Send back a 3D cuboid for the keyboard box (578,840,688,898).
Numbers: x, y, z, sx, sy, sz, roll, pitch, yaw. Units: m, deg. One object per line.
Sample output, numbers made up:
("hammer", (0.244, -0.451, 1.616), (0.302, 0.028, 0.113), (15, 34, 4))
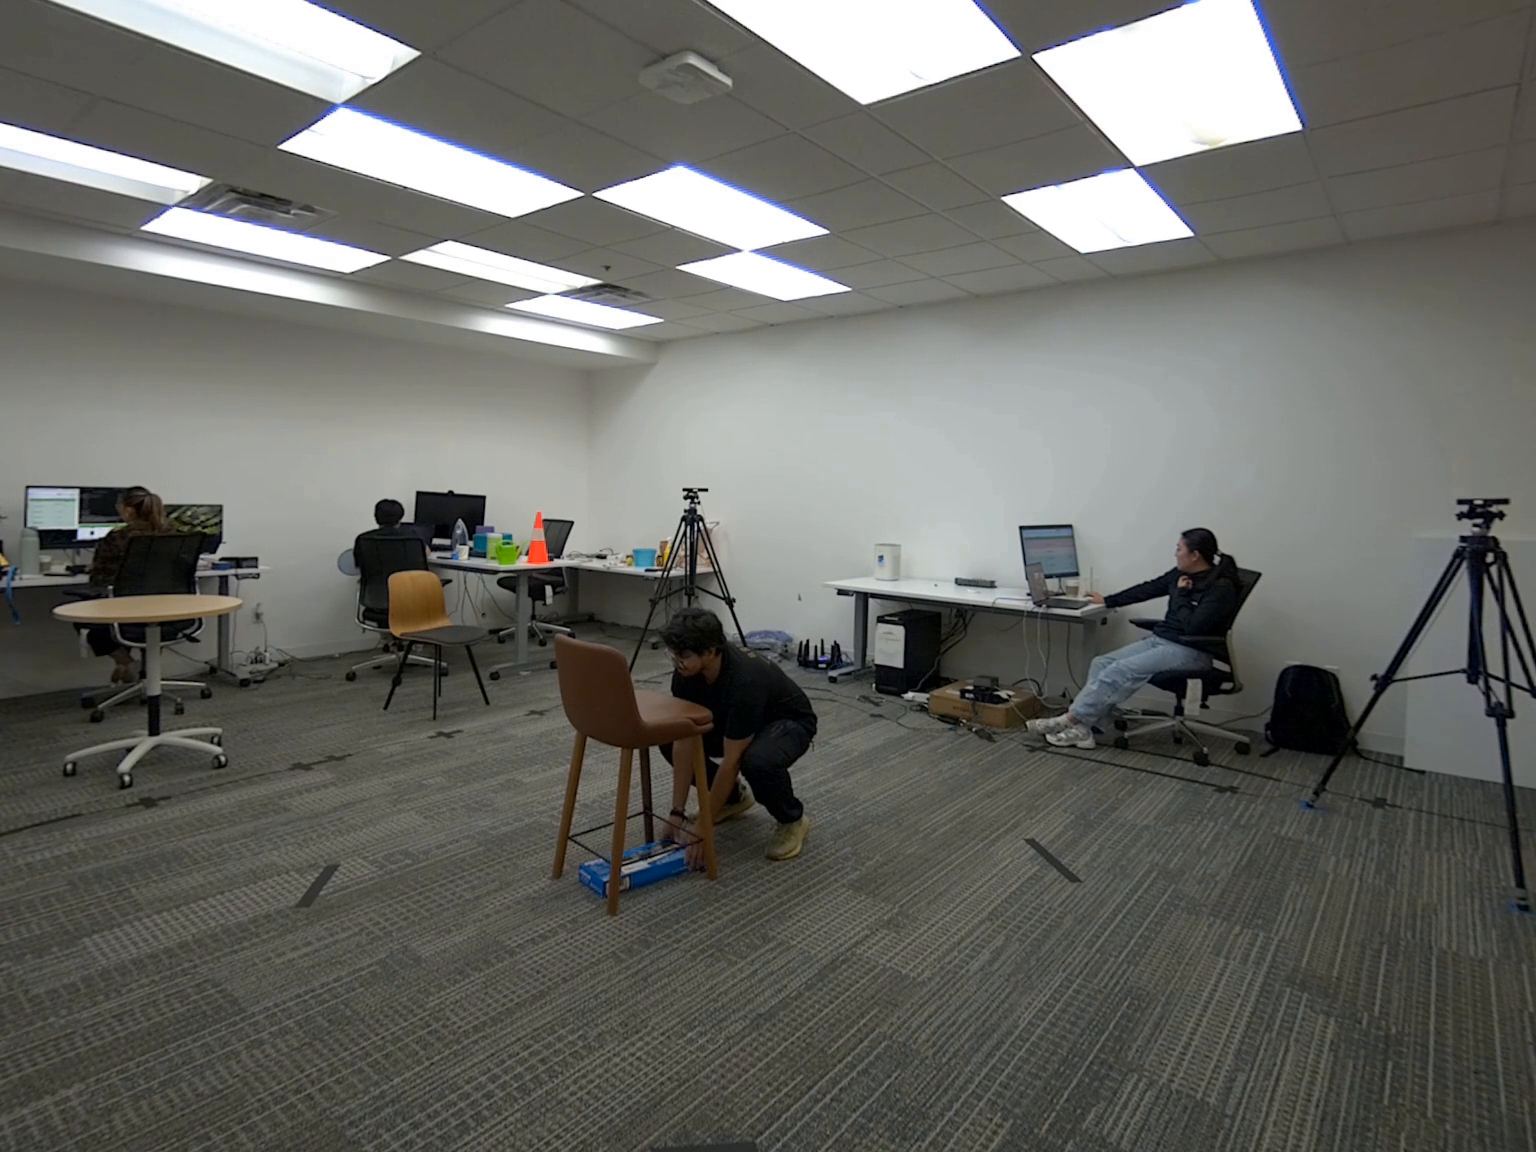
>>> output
("keyboard box", (-0.464, 1.045, 3.061), (0.424, 0.059, 0.182), (-3, 6, -40))
